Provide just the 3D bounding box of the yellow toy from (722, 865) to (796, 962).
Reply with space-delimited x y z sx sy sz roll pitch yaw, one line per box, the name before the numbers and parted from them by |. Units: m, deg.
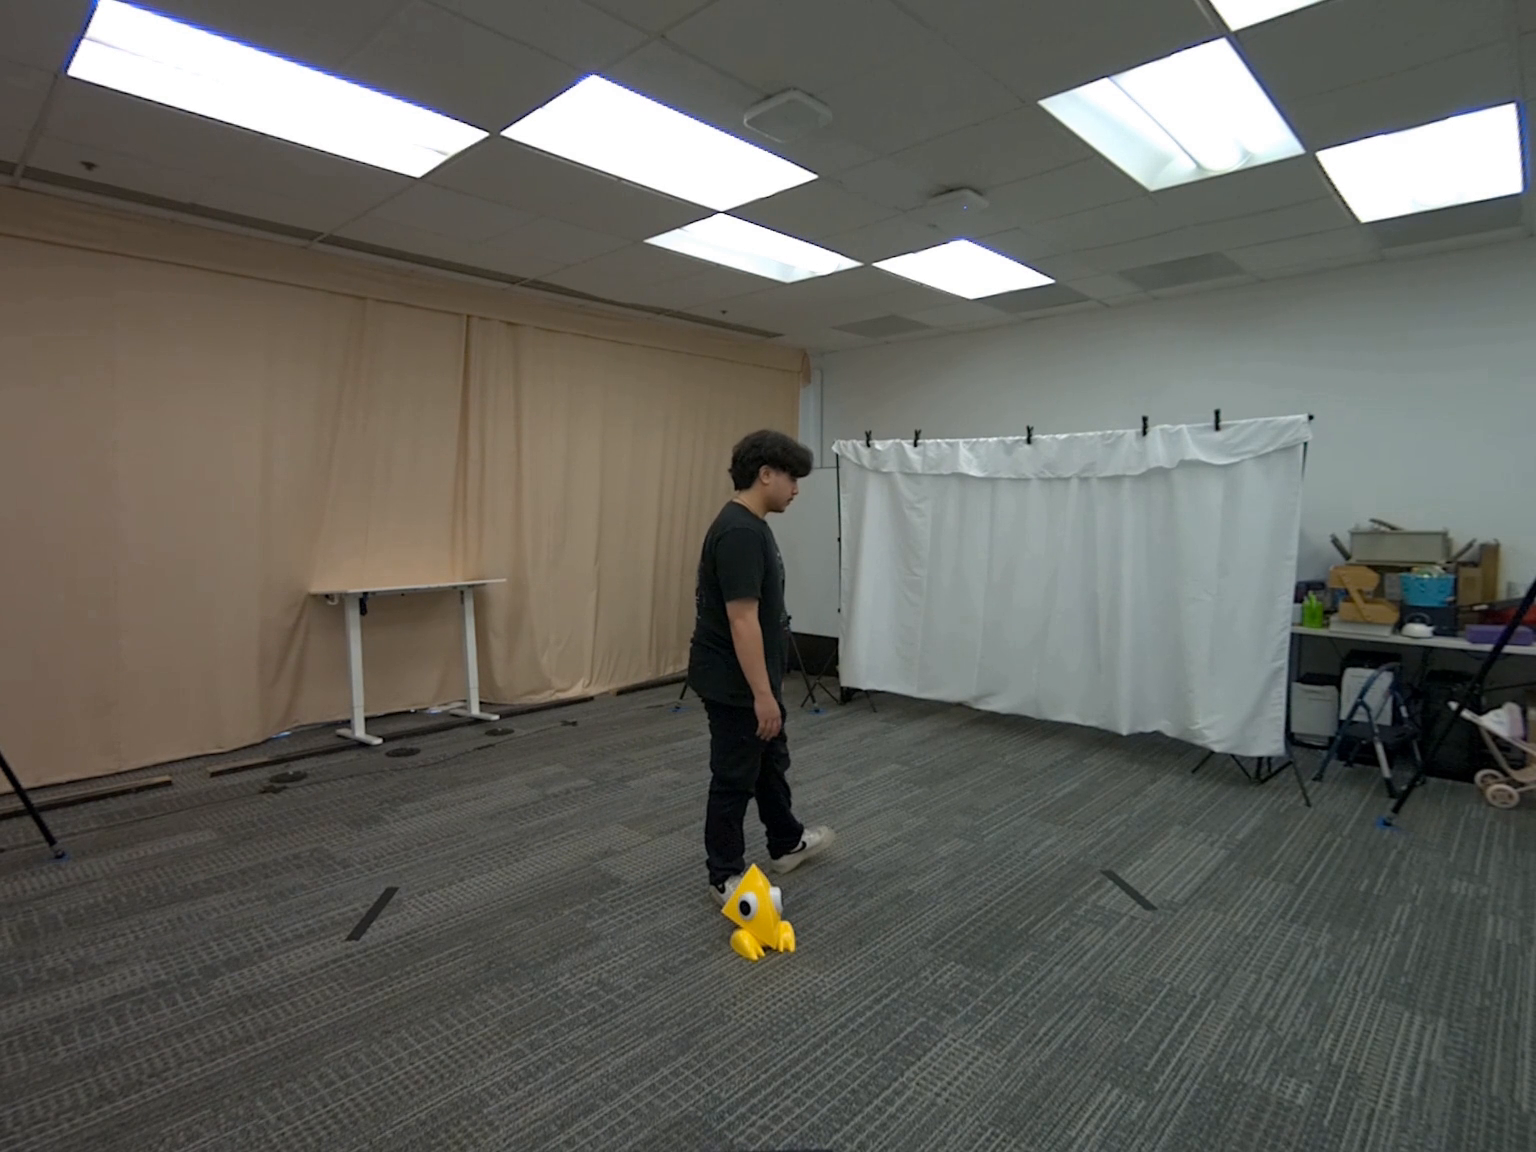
yellow toy | -0.018 1.053 2.683 0.200 0.230 0.198 -1 3 -25
